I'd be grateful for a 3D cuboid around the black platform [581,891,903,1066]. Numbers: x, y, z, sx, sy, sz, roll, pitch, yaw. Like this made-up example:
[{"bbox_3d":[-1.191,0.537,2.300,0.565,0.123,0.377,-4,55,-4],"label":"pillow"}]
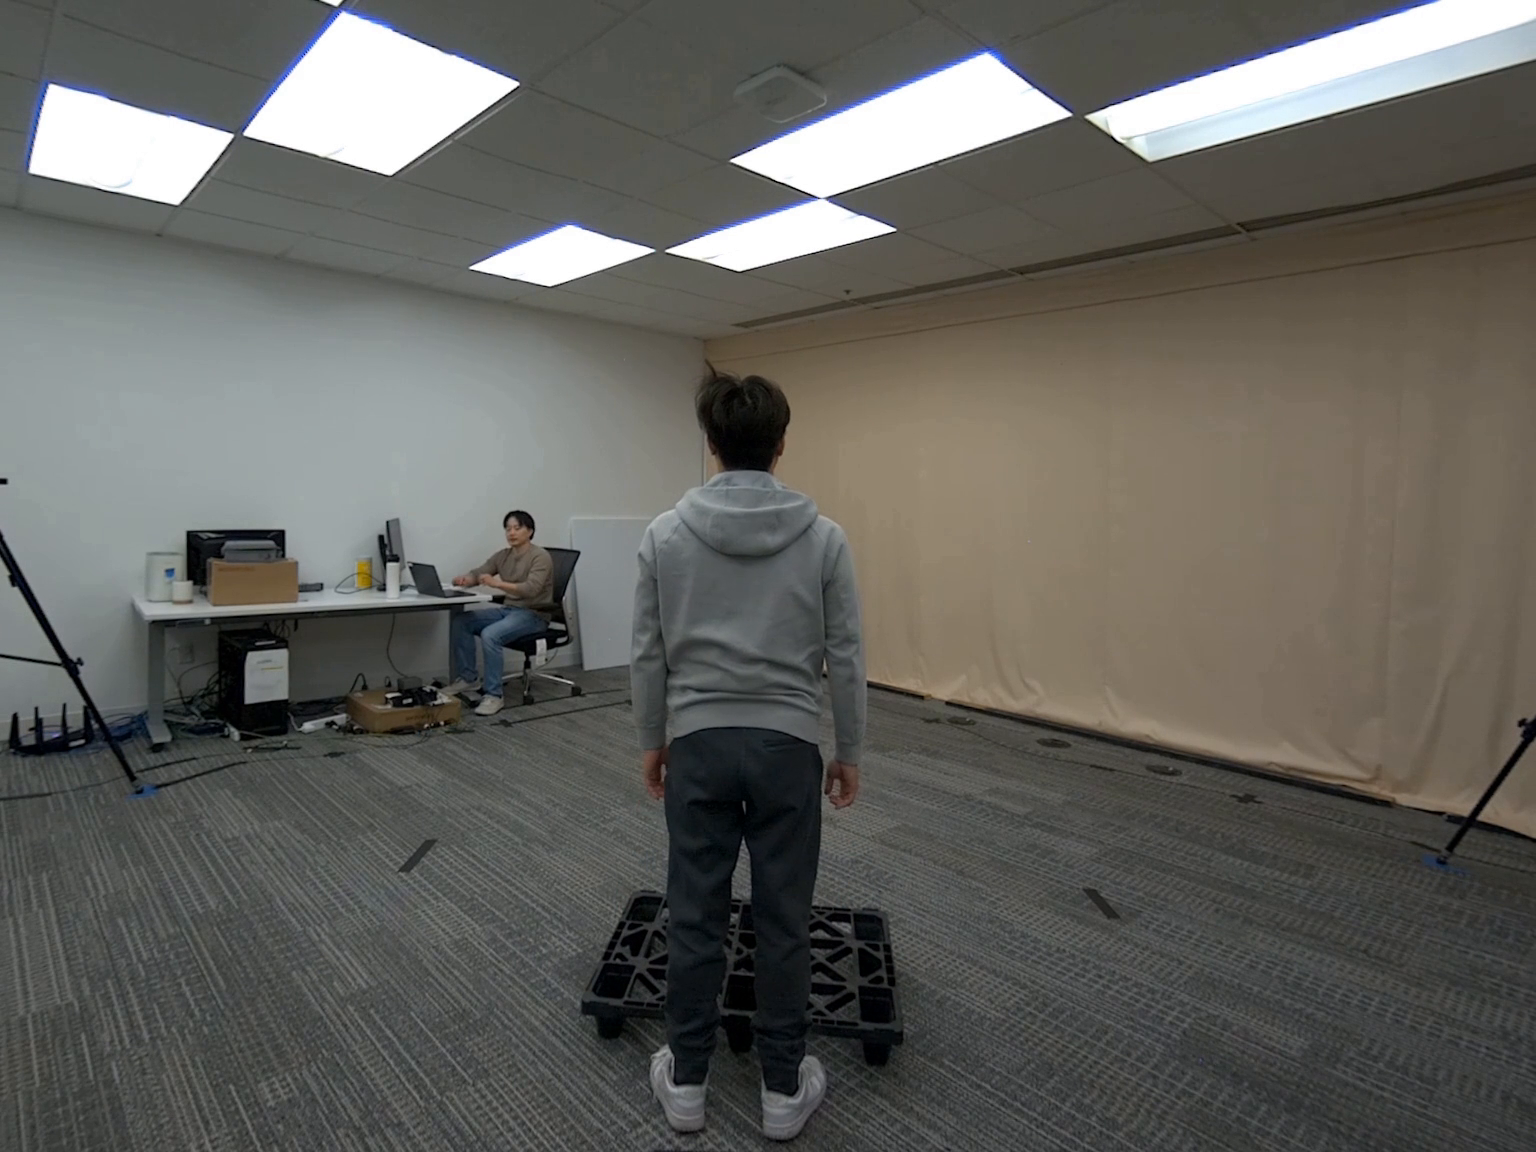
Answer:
[{"bbox_3d":[-0.055,1.112,2.345,0.810,0.143,0.604,2,6,5],"label":"black platform"}]
